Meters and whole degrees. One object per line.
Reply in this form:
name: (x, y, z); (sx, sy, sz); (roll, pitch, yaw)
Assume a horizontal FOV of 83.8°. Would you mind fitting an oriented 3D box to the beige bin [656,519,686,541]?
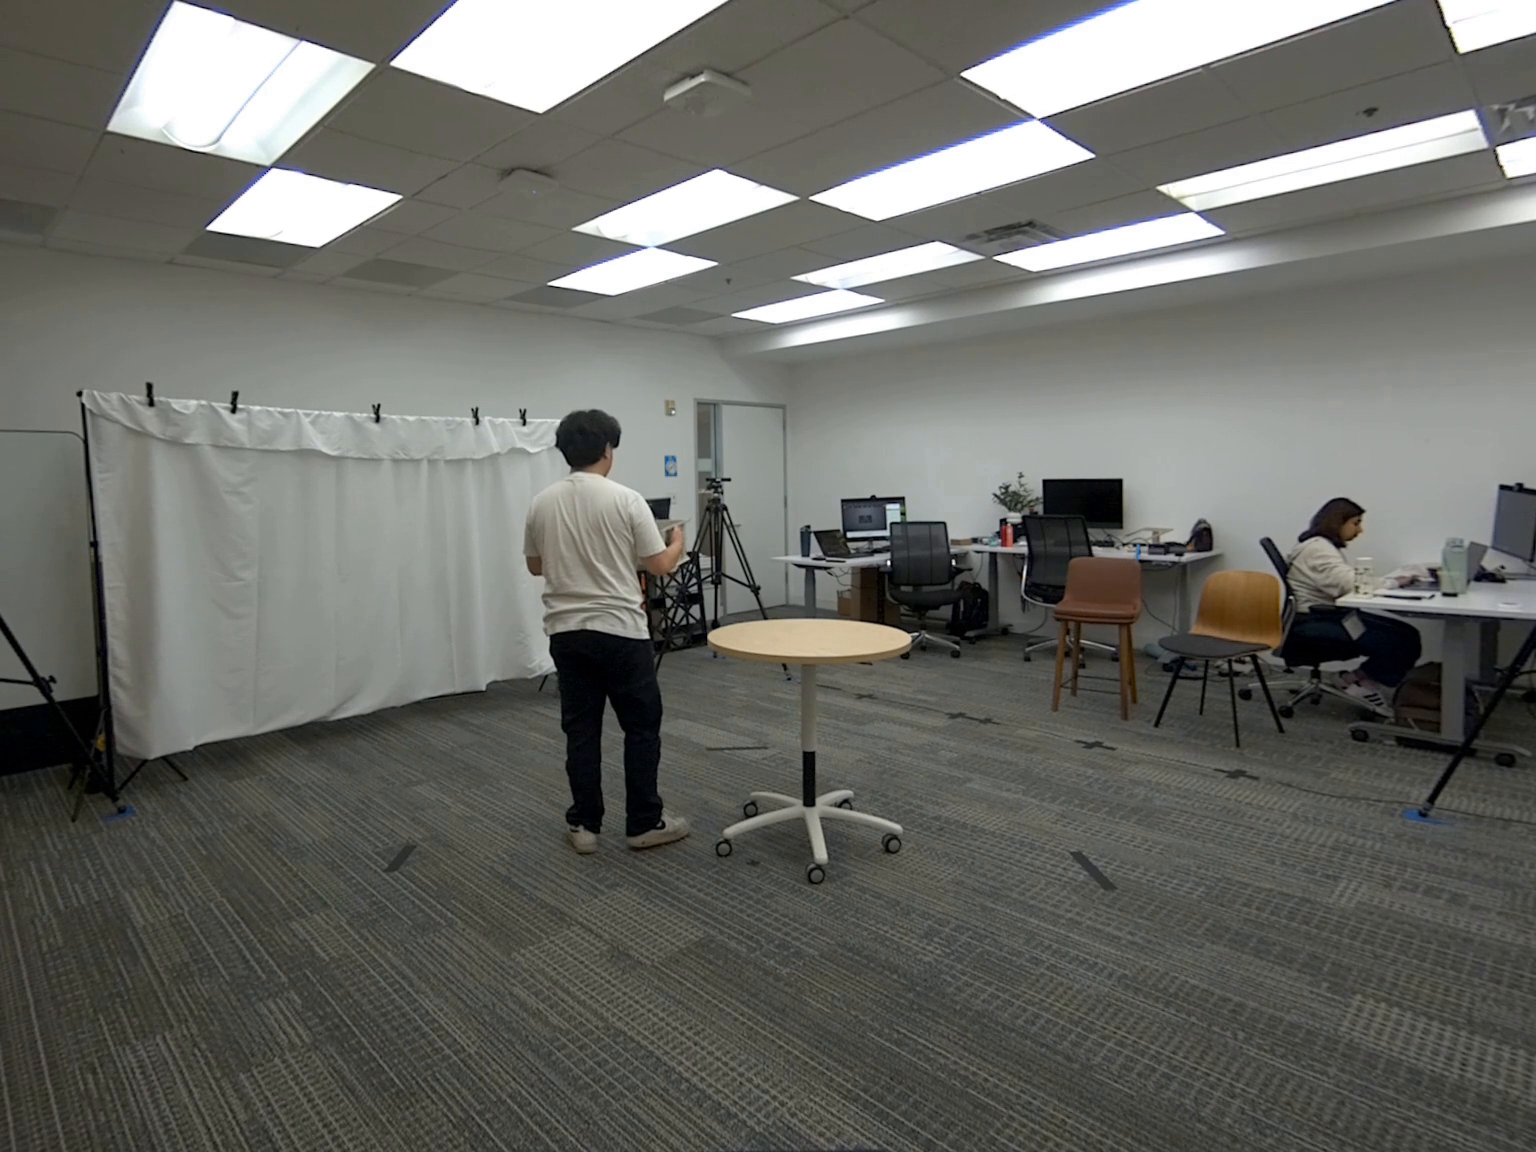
beige bin: (-0.582, -0.116, 3.673); (0.428, 0.188, 0.374); (-2, 7, 15)
